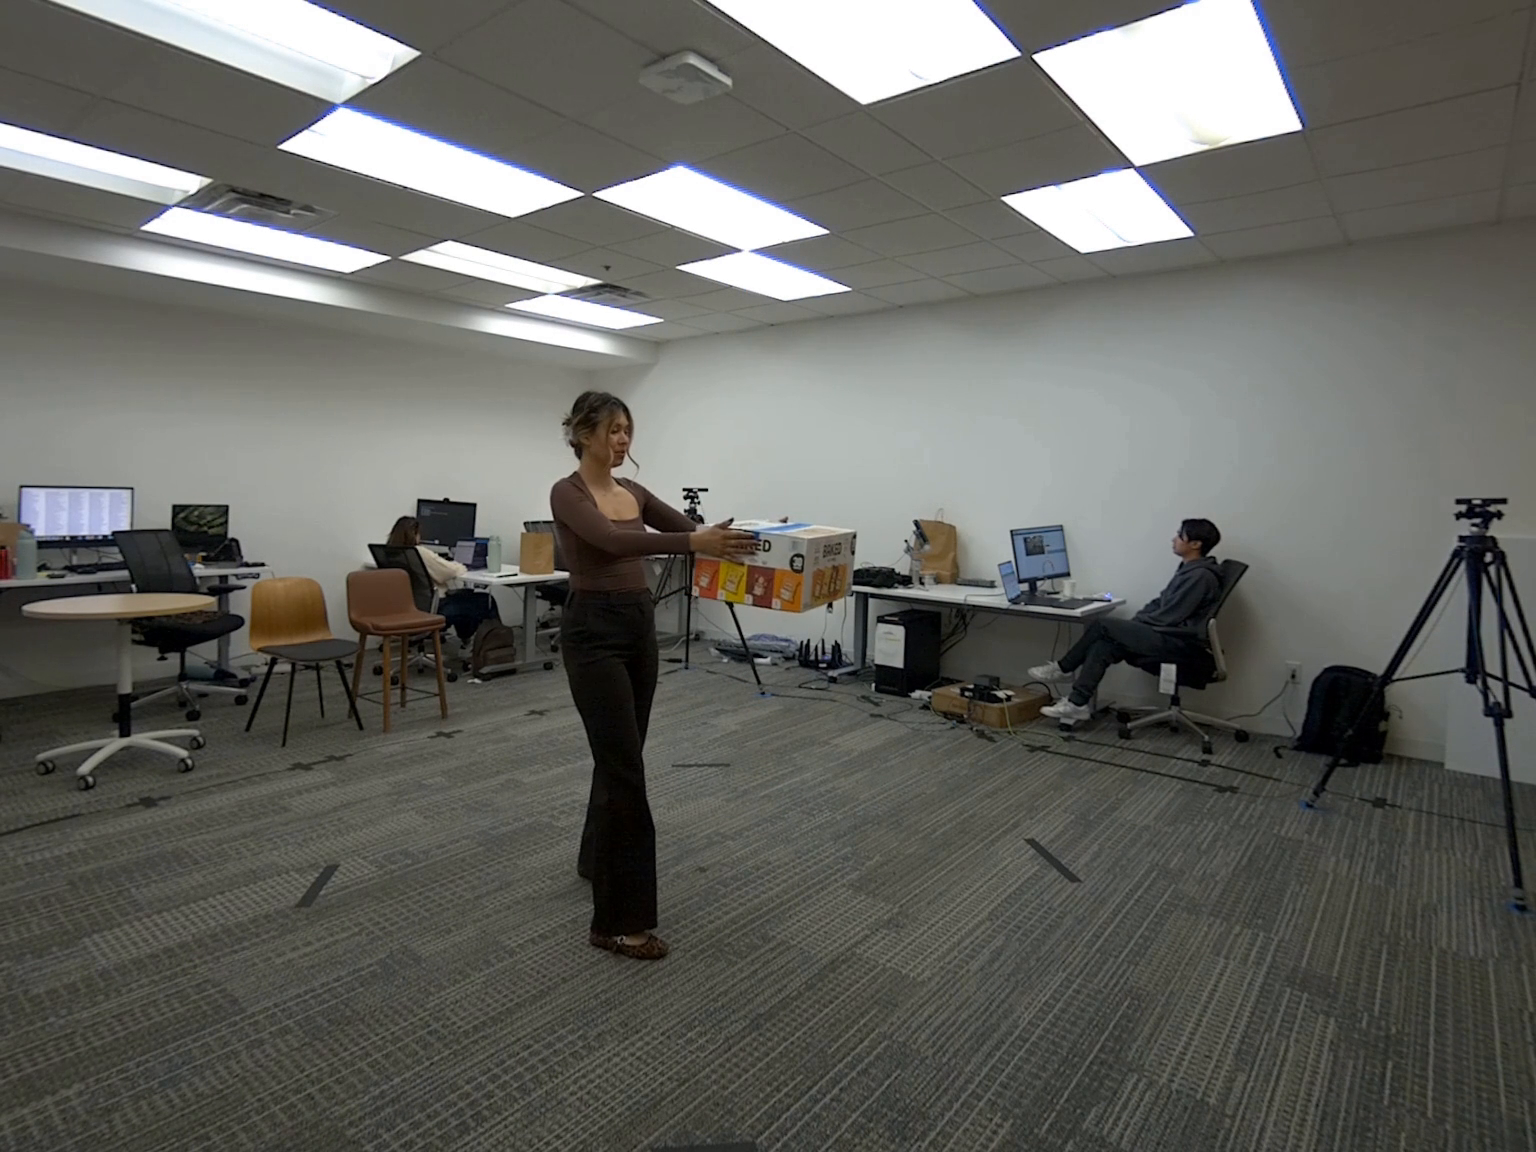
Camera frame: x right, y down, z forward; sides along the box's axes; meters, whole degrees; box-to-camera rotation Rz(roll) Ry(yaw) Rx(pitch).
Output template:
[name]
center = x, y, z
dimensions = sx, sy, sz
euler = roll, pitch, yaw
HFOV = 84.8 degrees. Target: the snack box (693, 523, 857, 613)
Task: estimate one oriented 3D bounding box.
[snack box]
center = 0.018, -0.043, 2.490
dimensions = 0.350, 0.205, 0.396
euler = 7, 7, 26
